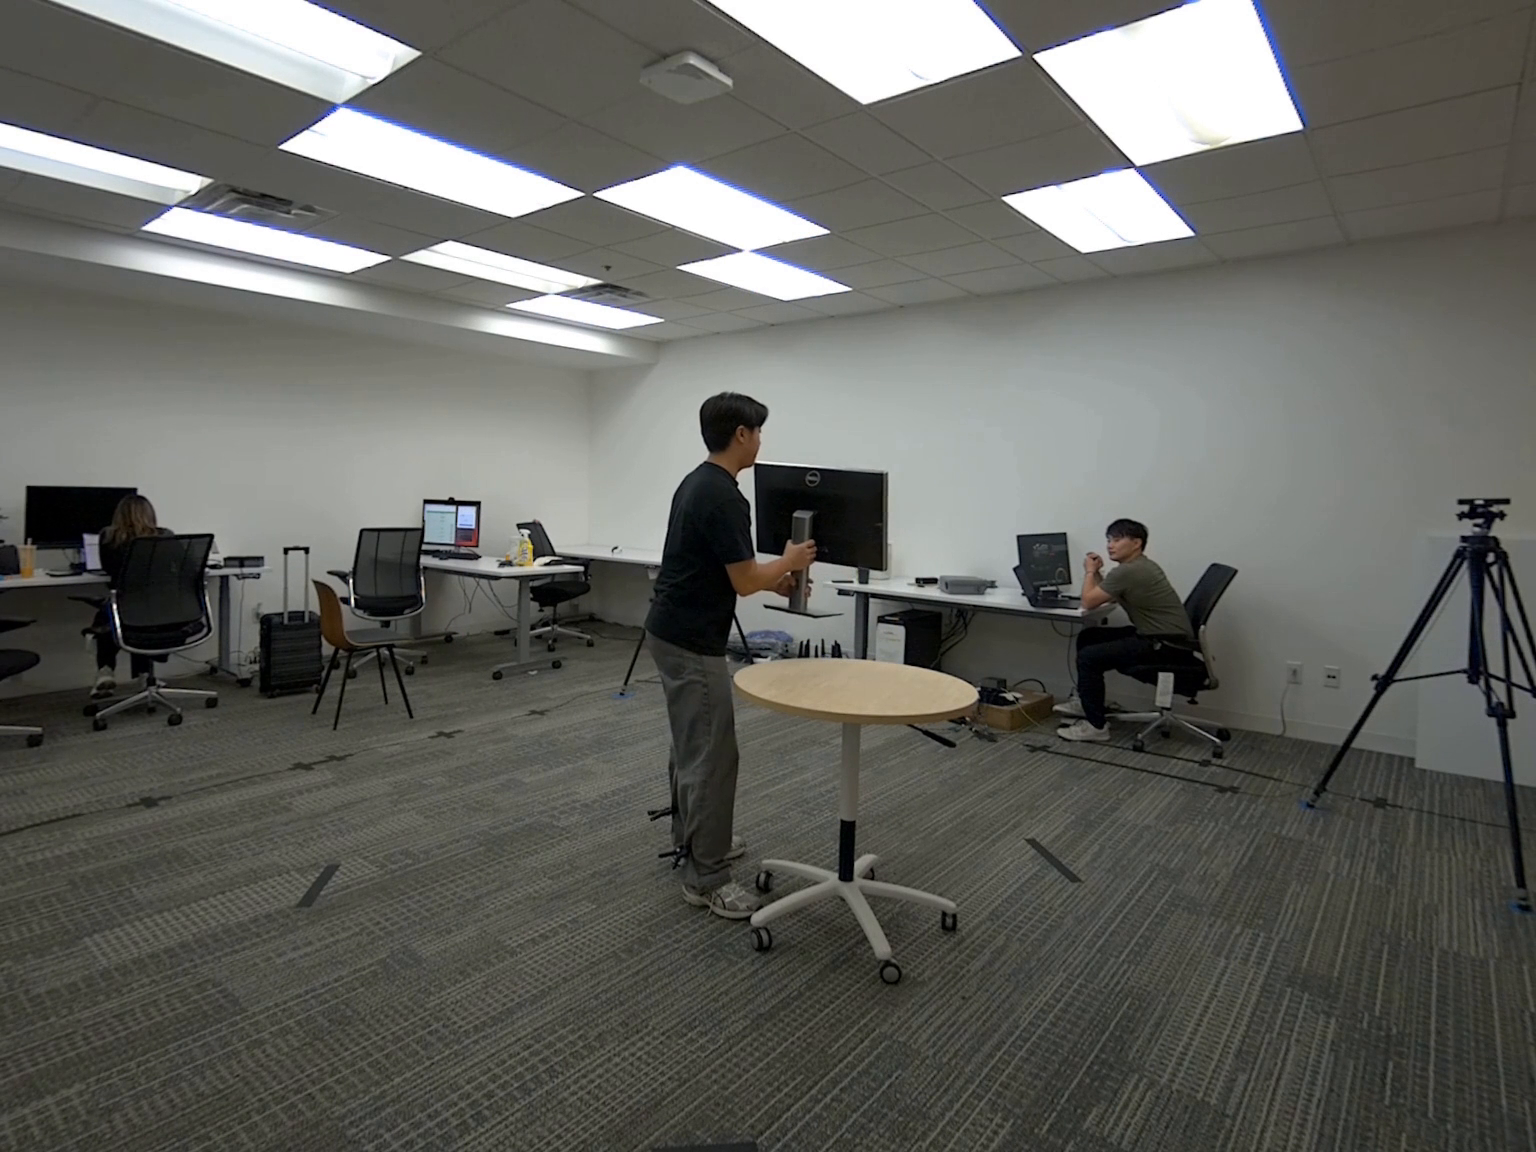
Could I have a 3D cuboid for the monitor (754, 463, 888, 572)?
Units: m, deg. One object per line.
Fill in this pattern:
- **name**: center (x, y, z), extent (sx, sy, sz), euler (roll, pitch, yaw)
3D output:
- **monitor**: center (0.153, -0.125, 3.141), extent (0.582, 0.565, 0.215), euler (9, 2, 37)
